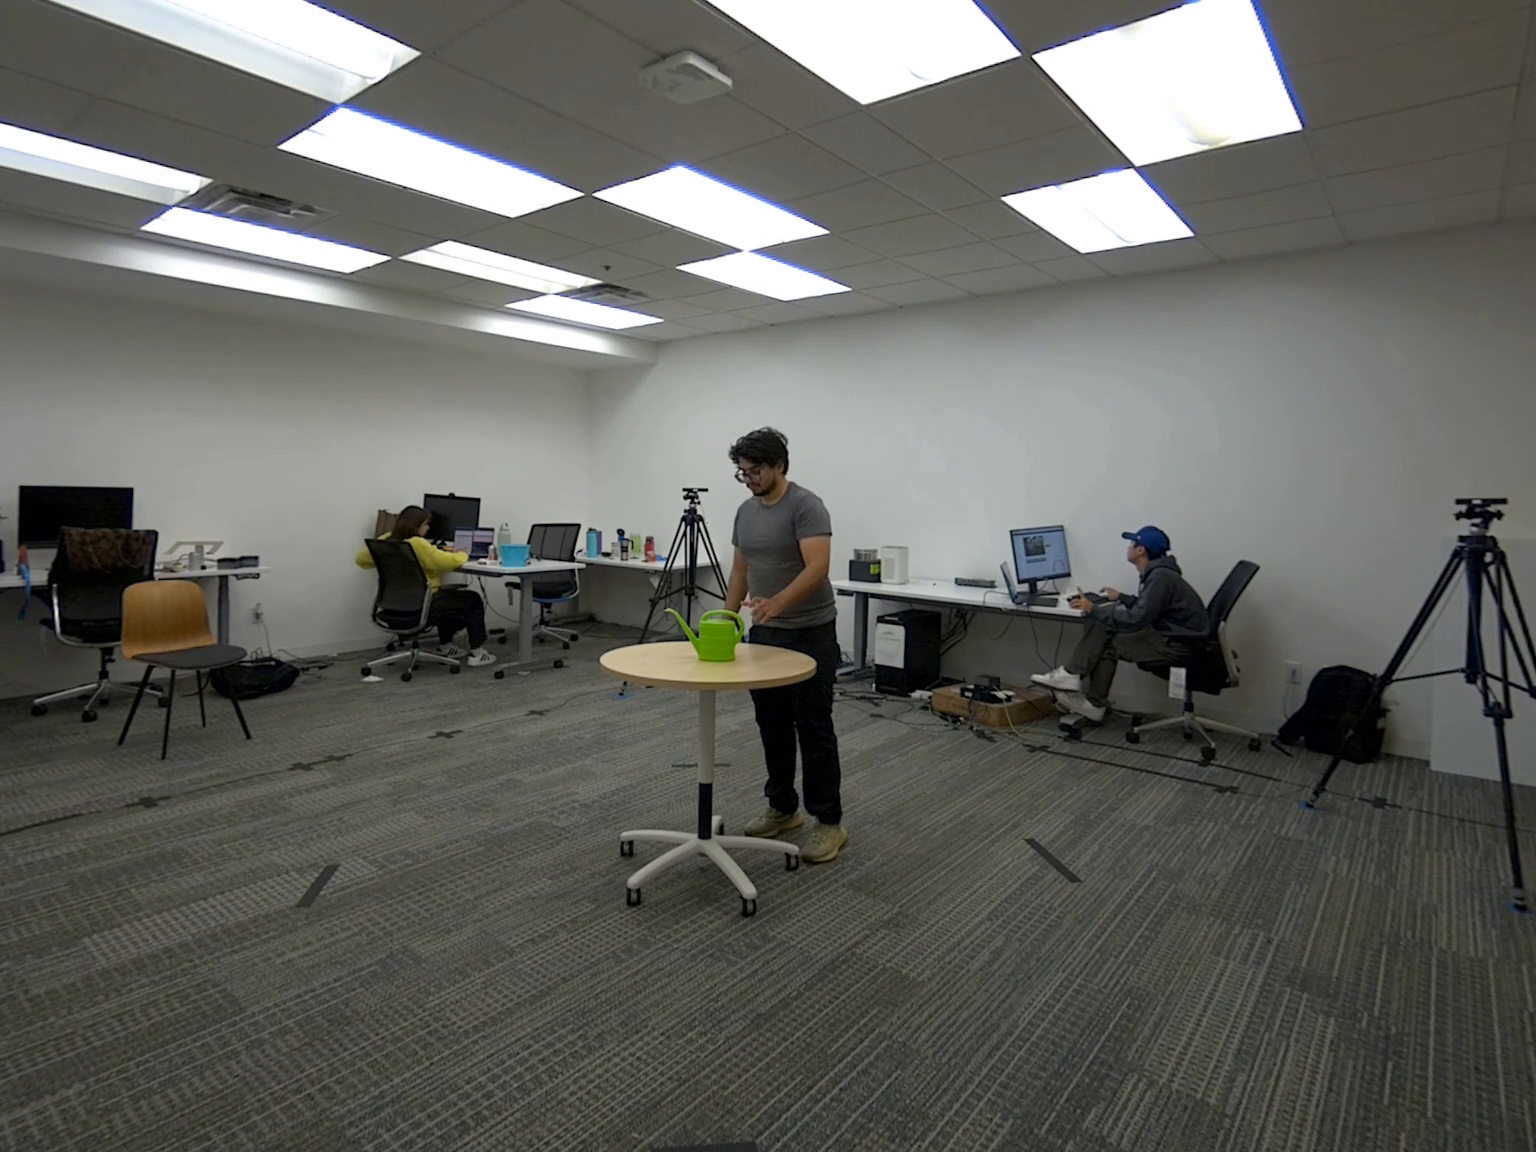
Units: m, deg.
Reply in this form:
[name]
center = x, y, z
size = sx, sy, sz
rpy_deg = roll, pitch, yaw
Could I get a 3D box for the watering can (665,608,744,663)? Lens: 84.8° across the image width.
[watering can]
center = -0.240, 0.207, 3.037
size = 0.284, 0.176, 0.096
rpy_deg = 4, 3, 19
